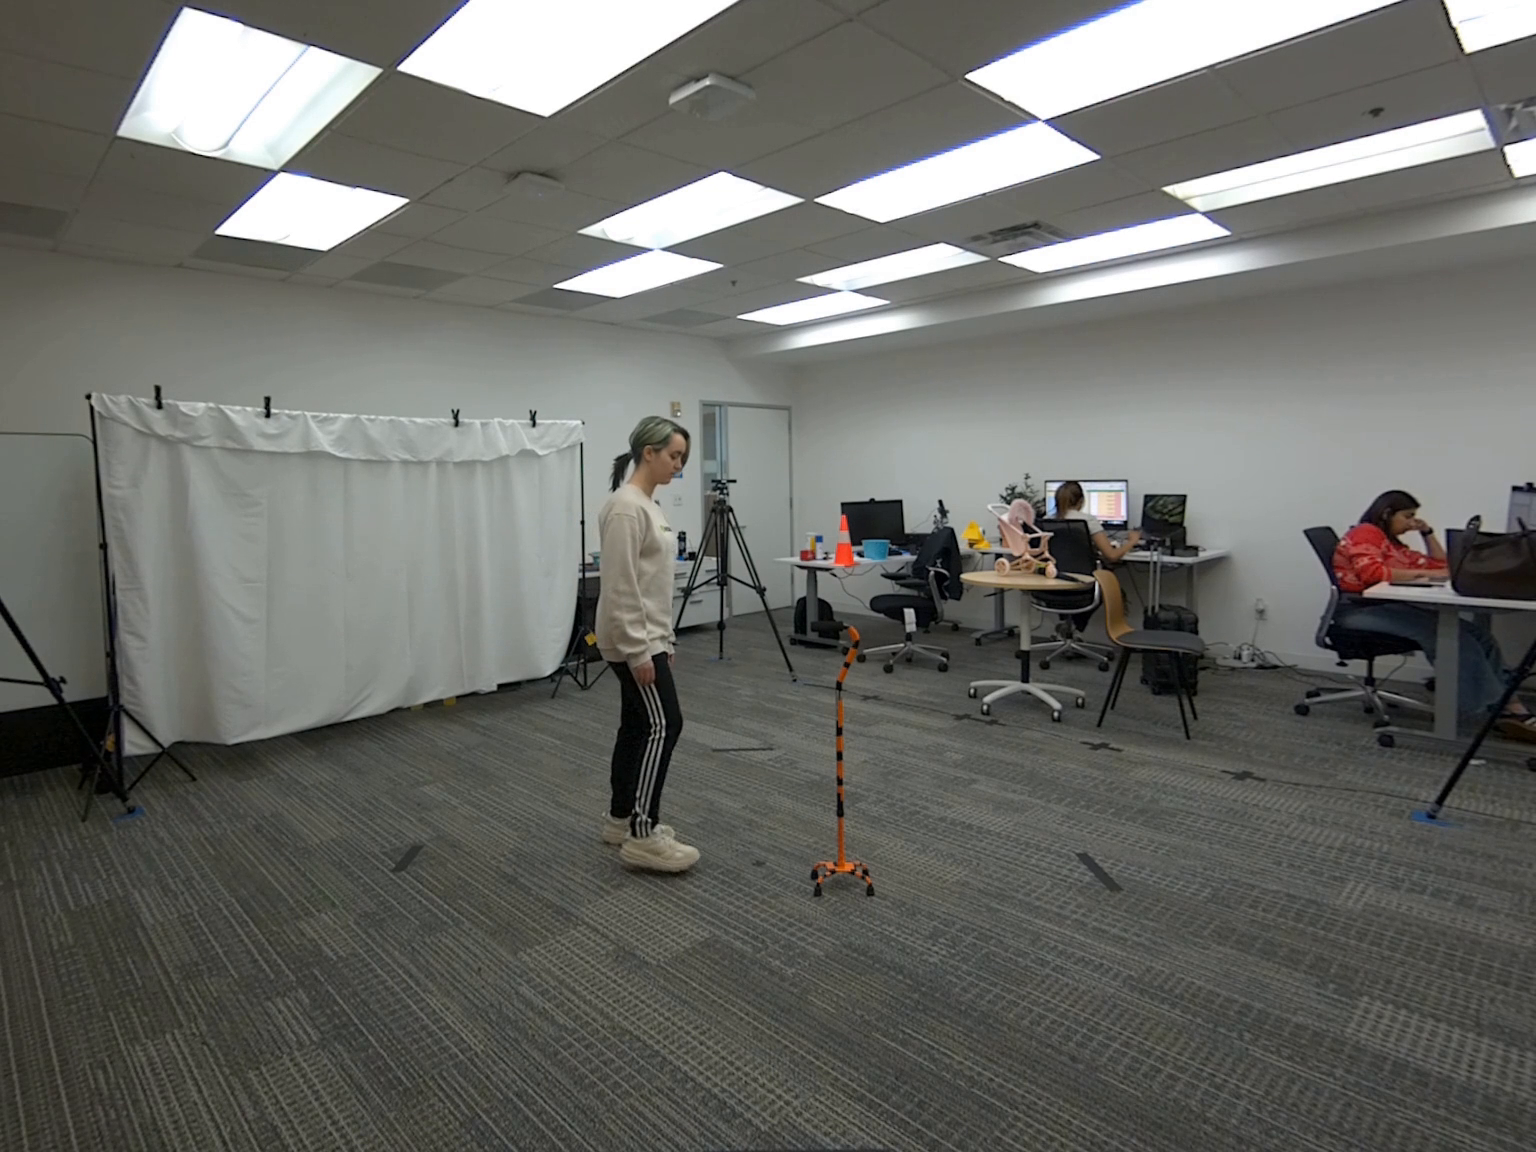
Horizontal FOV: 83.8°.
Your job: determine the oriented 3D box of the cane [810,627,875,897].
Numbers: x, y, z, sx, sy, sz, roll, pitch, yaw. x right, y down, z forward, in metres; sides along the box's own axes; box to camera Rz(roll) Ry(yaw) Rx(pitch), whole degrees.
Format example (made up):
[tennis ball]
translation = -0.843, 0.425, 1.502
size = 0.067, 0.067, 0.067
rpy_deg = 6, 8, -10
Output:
[cane]
translation = 0.253, 0.612, 2.897
size = 0.206, 0.905, 0.152
rpy_deg = 0, 4, 0
